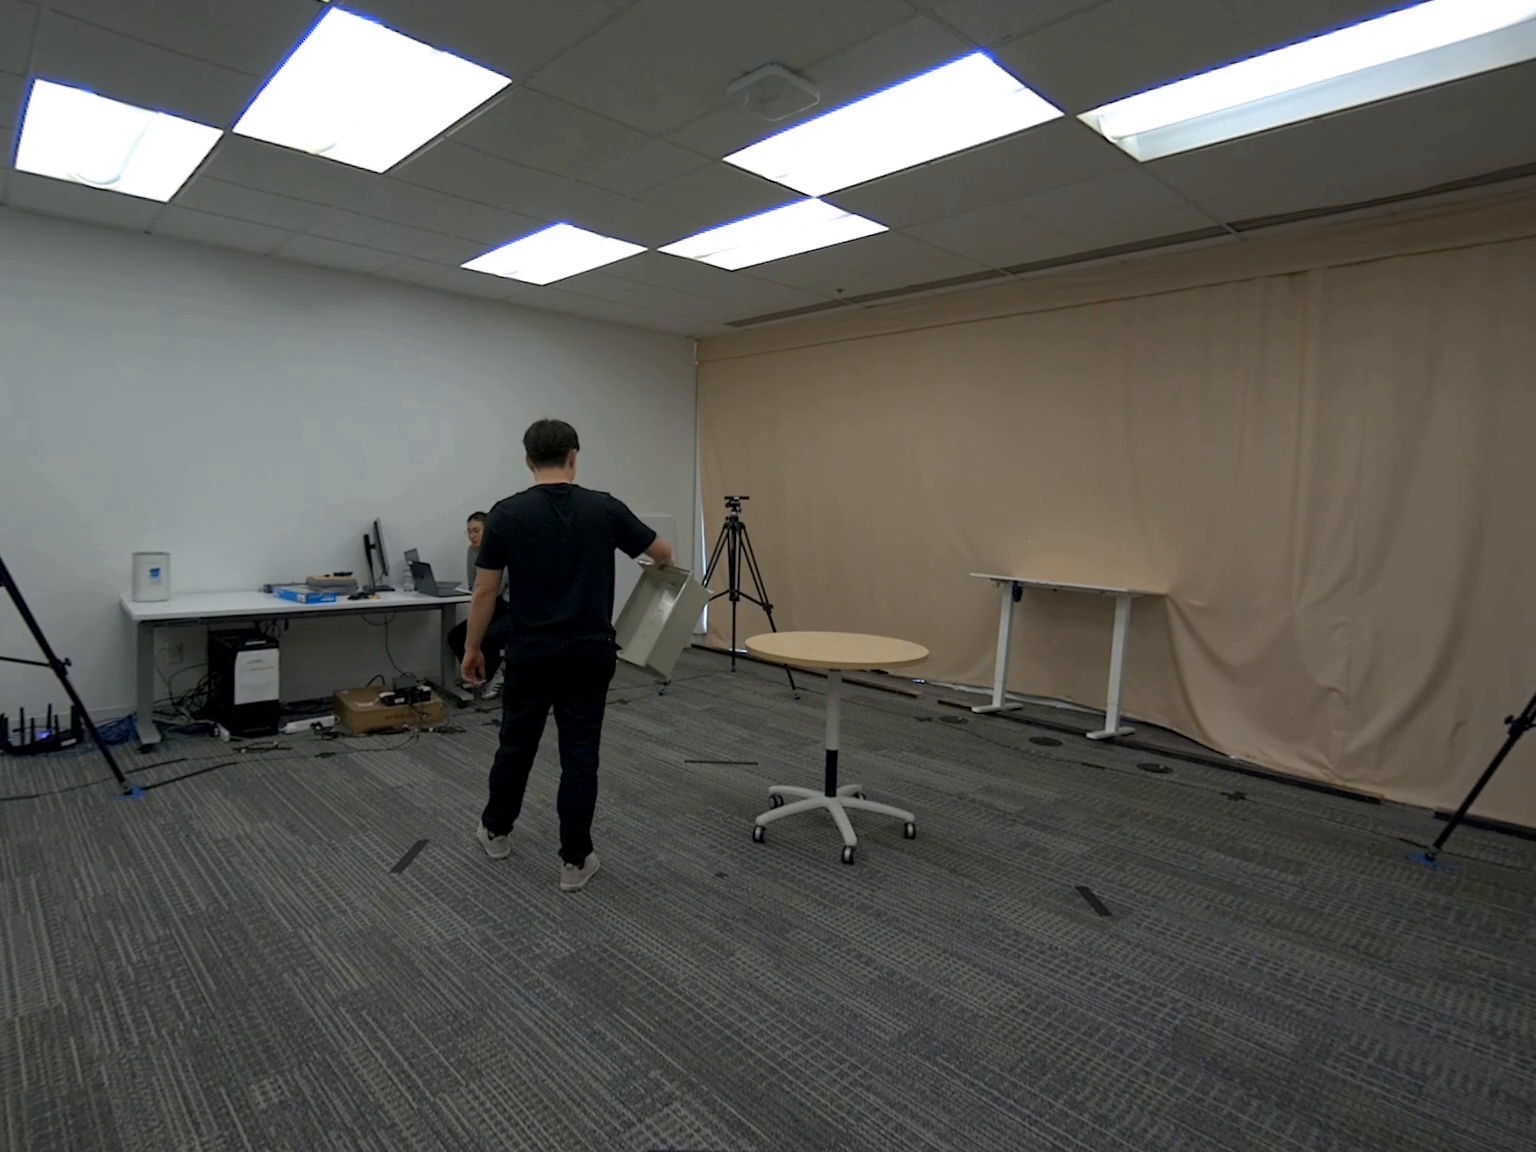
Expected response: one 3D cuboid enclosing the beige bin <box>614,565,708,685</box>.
[{"bbox_3d":[-0.491,0.173,3.439,0.388,0.424,0.183,13,-22,42],"label":"beige bin"}]
